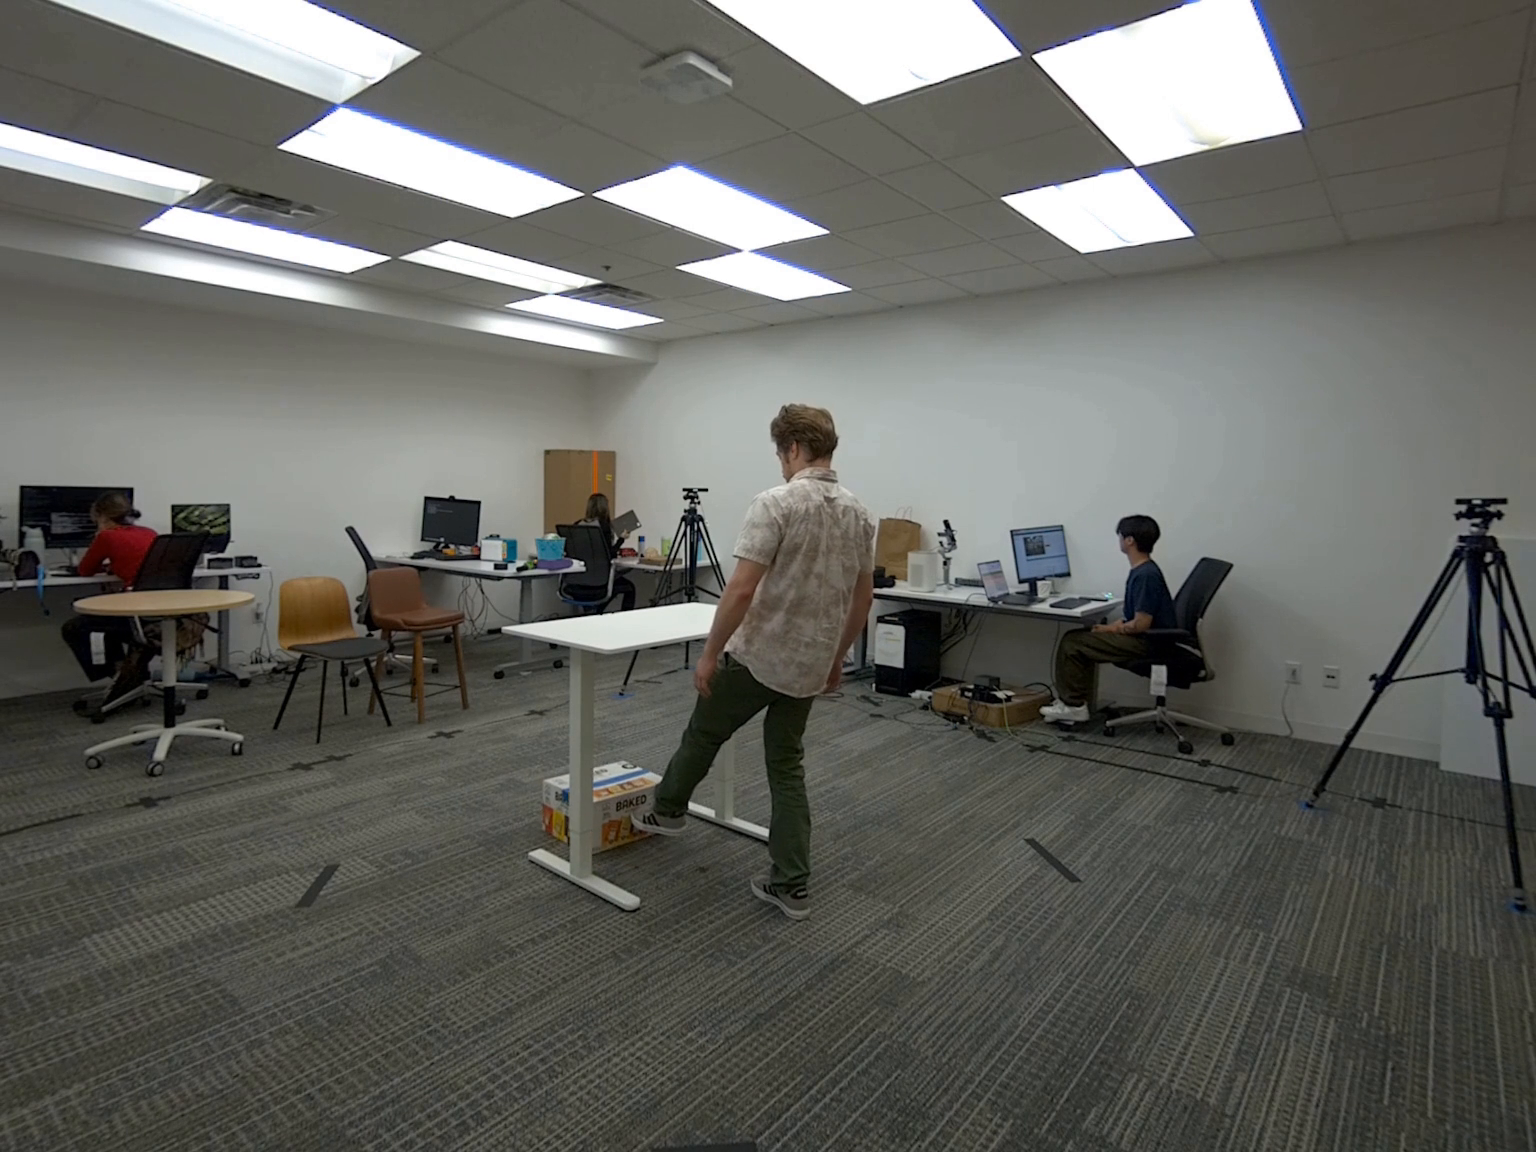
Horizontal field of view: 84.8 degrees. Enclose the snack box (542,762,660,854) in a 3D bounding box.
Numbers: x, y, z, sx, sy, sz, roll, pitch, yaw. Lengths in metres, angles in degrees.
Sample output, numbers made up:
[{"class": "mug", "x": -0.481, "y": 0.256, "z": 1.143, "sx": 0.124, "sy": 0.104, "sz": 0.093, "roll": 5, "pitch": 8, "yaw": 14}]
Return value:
[{"class": "snack box", "x": -0.663, "y": 0.929, "z": 3.446, "sx": 0.393, "sy": 0.205, "sz": 0.352, "roll": -4, "pitch": 7, "yaw": -44}]
